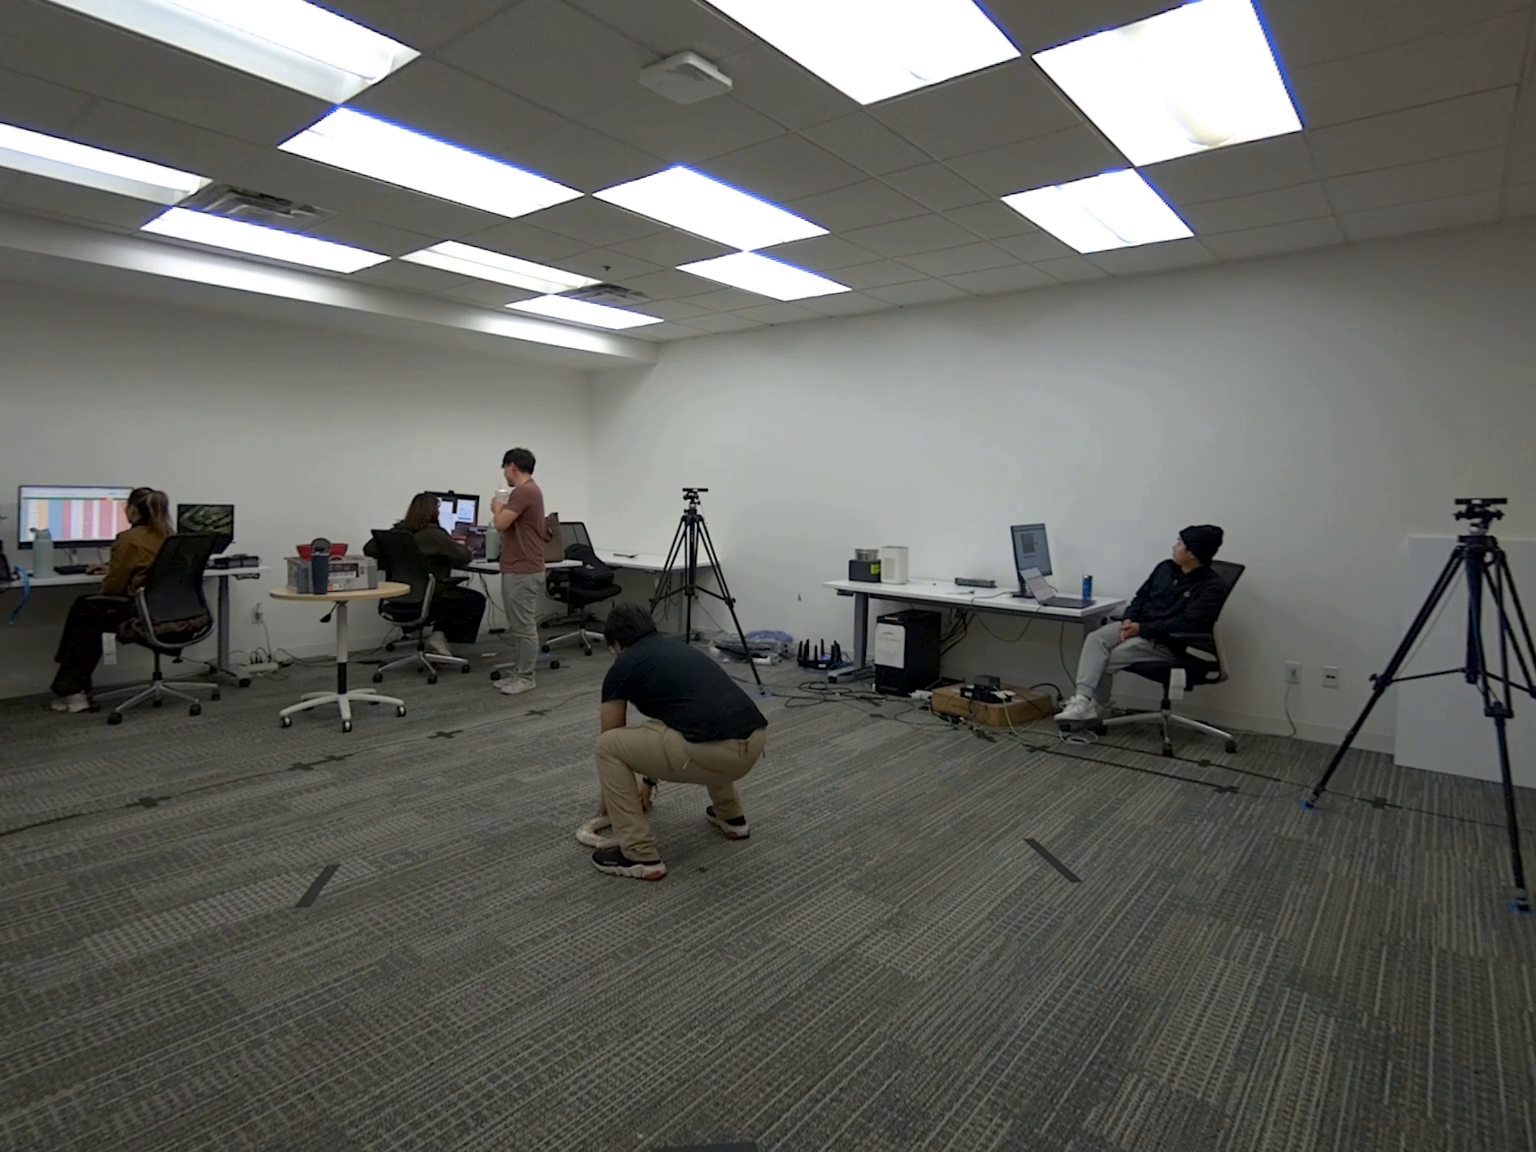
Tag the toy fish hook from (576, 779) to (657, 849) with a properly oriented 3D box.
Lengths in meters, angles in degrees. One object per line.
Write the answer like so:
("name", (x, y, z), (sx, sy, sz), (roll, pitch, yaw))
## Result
("toy fish hook", (-0.588, 1.011, 3.492), (0.231, 0.048, 0.495), (11, 12, 26))
